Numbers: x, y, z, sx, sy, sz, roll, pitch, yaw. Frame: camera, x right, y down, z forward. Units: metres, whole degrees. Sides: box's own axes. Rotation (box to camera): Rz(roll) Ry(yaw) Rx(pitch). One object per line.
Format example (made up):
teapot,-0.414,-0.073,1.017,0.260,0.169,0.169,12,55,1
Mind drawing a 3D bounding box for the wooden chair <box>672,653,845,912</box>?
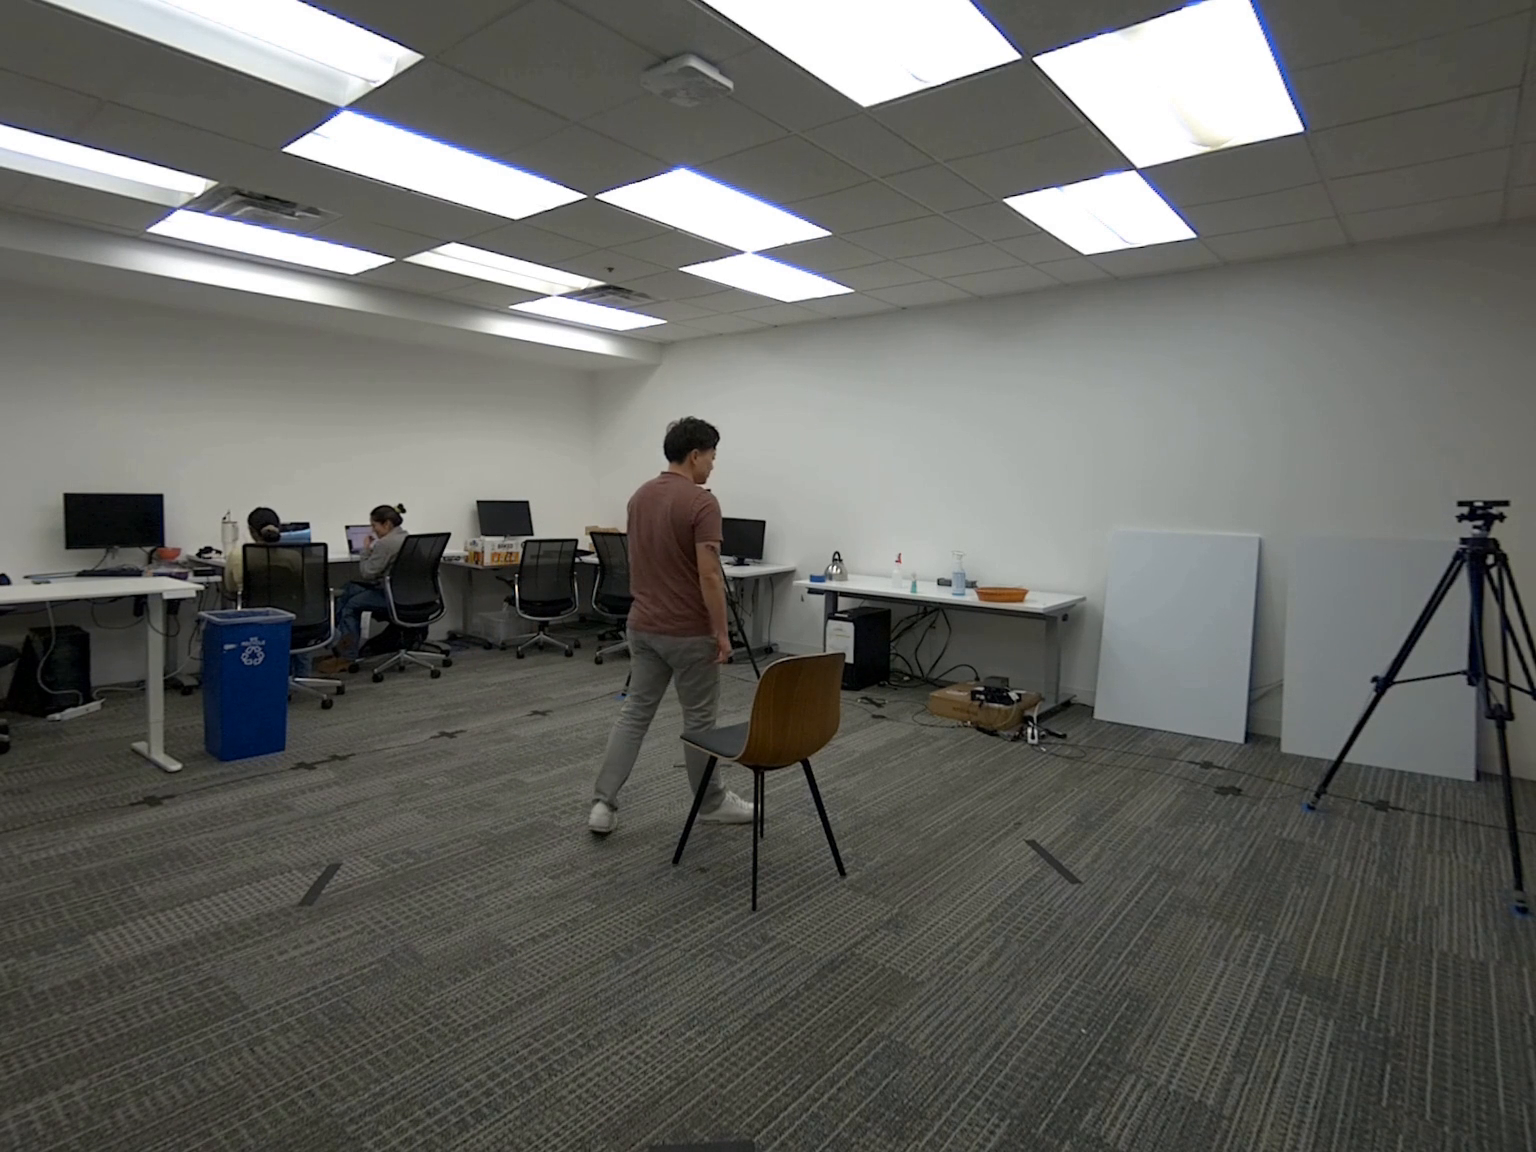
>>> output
wooden chair,-0.035,0.651,3.099,0.463,0.873,0.542,-1,8,-42
